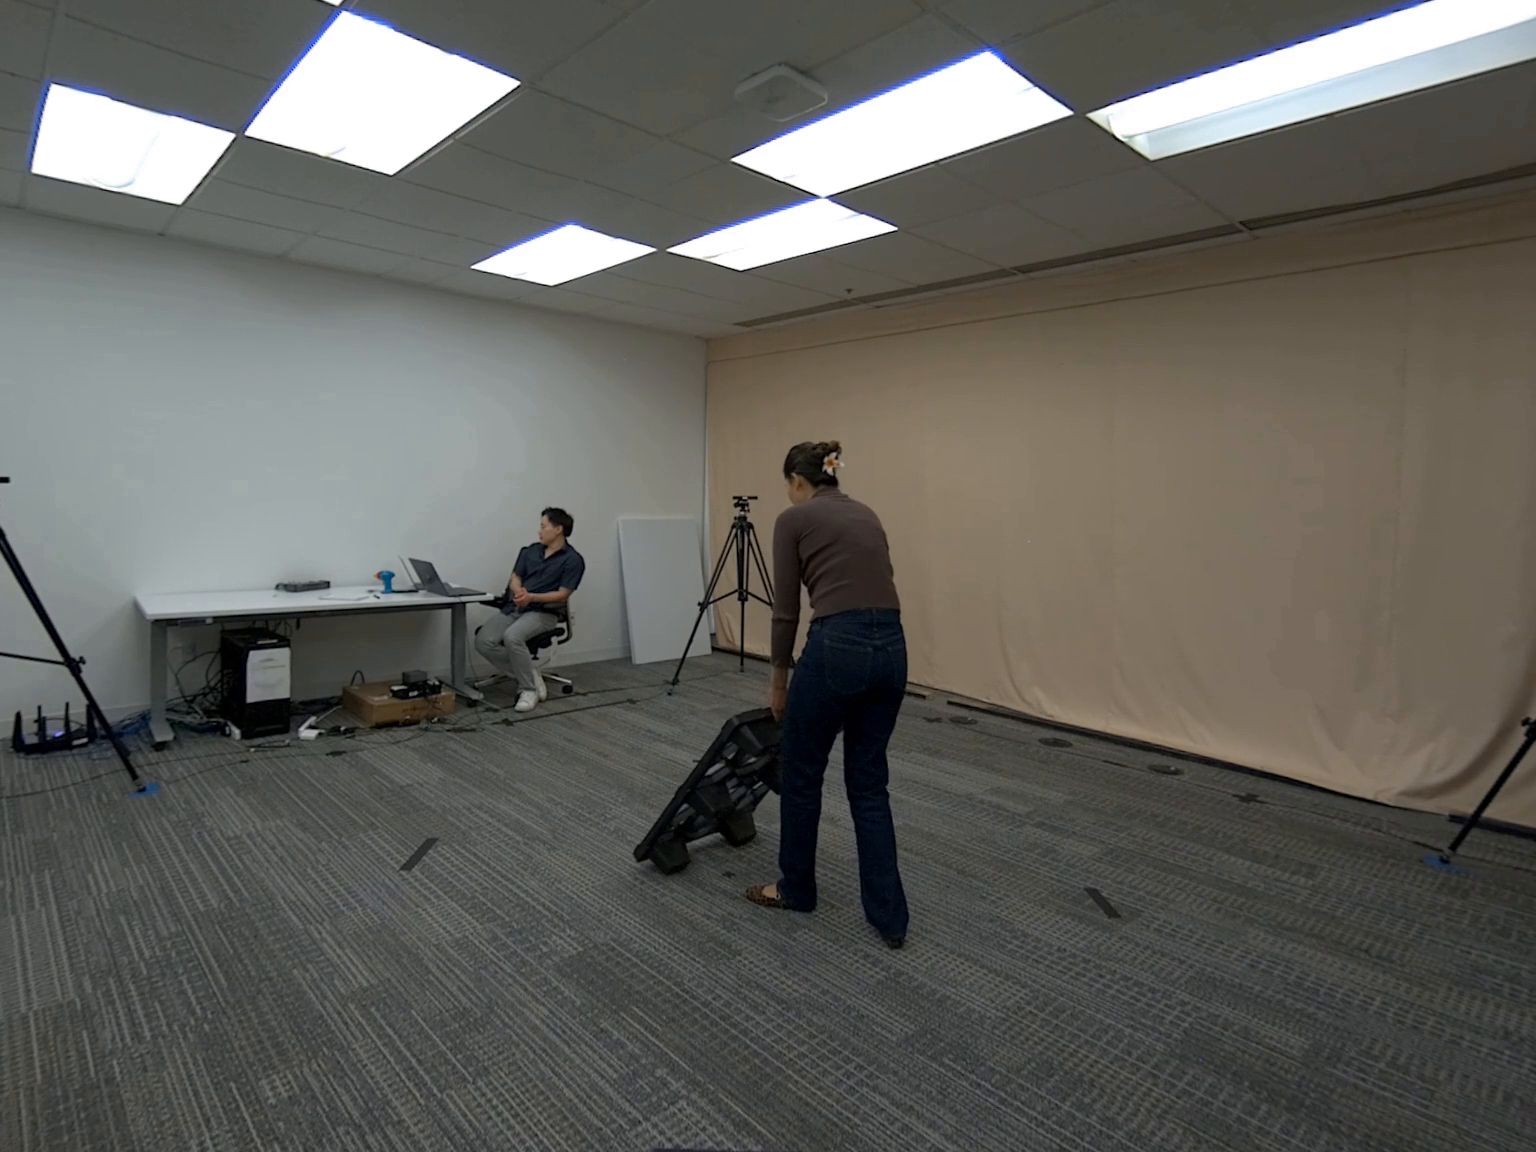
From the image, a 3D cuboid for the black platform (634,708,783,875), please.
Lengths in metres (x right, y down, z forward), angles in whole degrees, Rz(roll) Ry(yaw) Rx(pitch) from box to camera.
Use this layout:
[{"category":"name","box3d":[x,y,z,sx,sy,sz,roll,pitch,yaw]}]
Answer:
[{"category":"black platform","box3d":[-0.085,0.772,3.109,0.592,0.801,0.147,-5,46,-48]}]
